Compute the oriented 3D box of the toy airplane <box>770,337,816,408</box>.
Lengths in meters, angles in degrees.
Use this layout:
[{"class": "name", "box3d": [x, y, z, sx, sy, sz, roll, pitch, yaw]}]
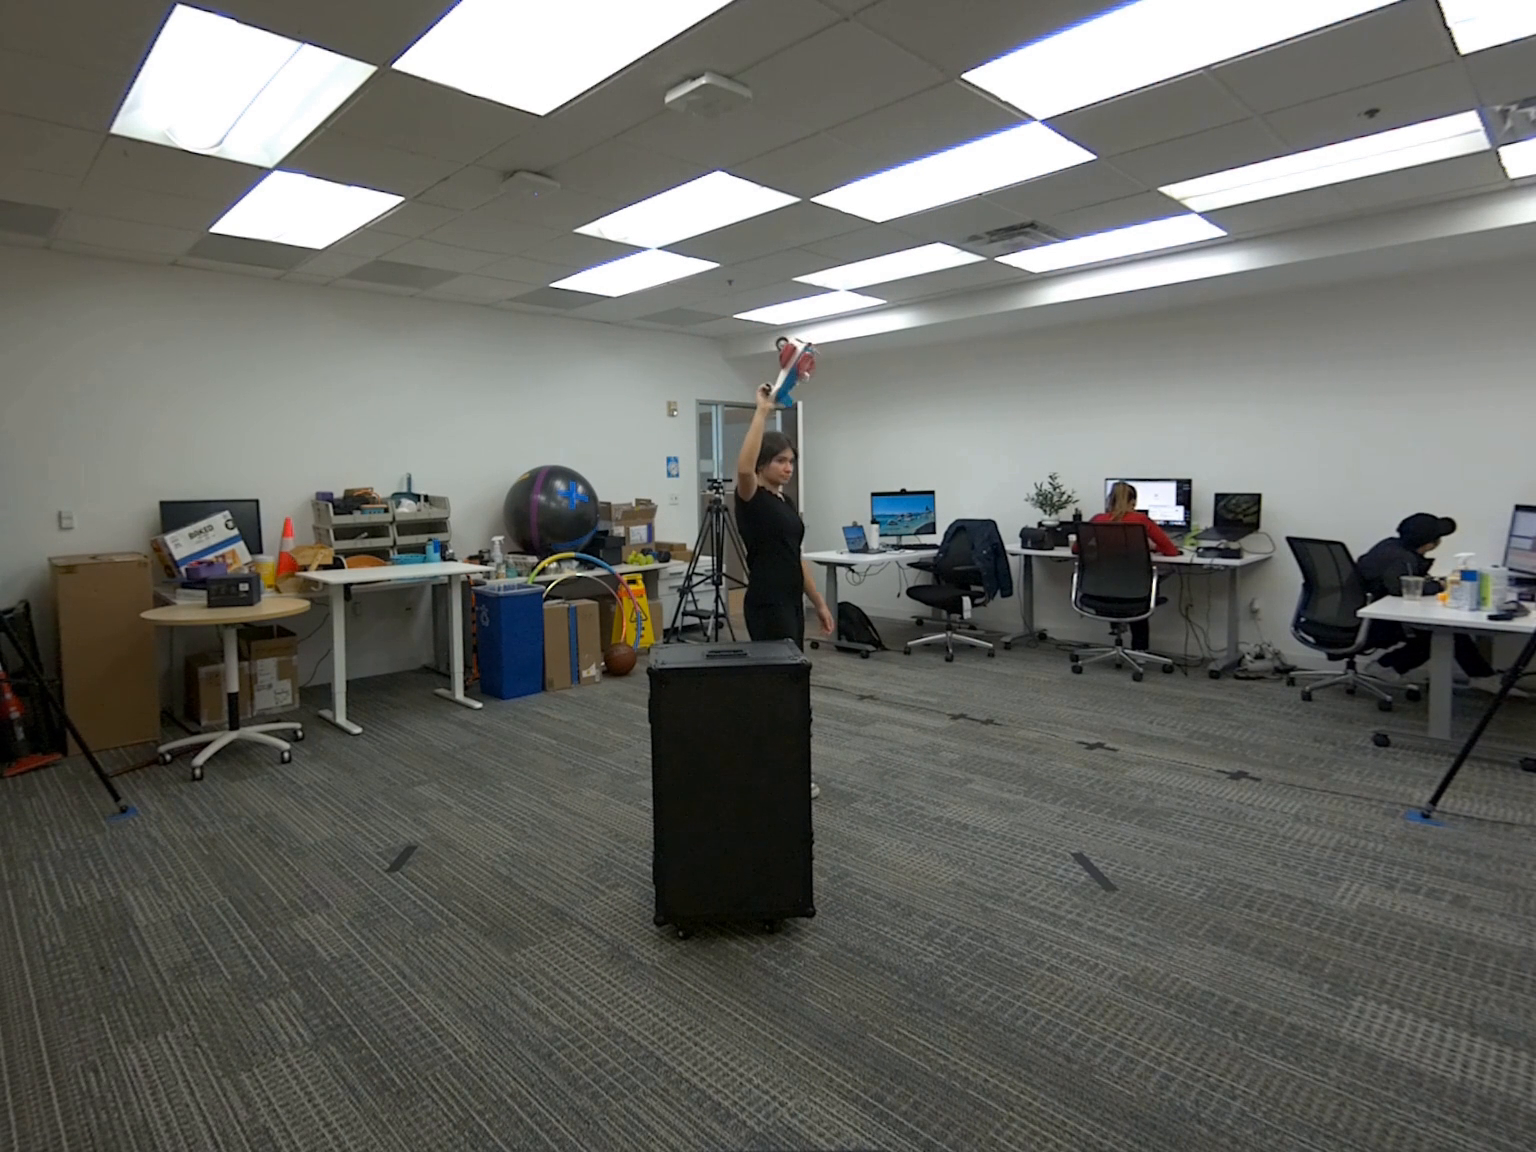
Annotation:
[{"class": "toy airplane", "box3d": [0.087, -0.795, 3.329, 0.159, 0.255, 0.251, 19, 28, 12]}]
